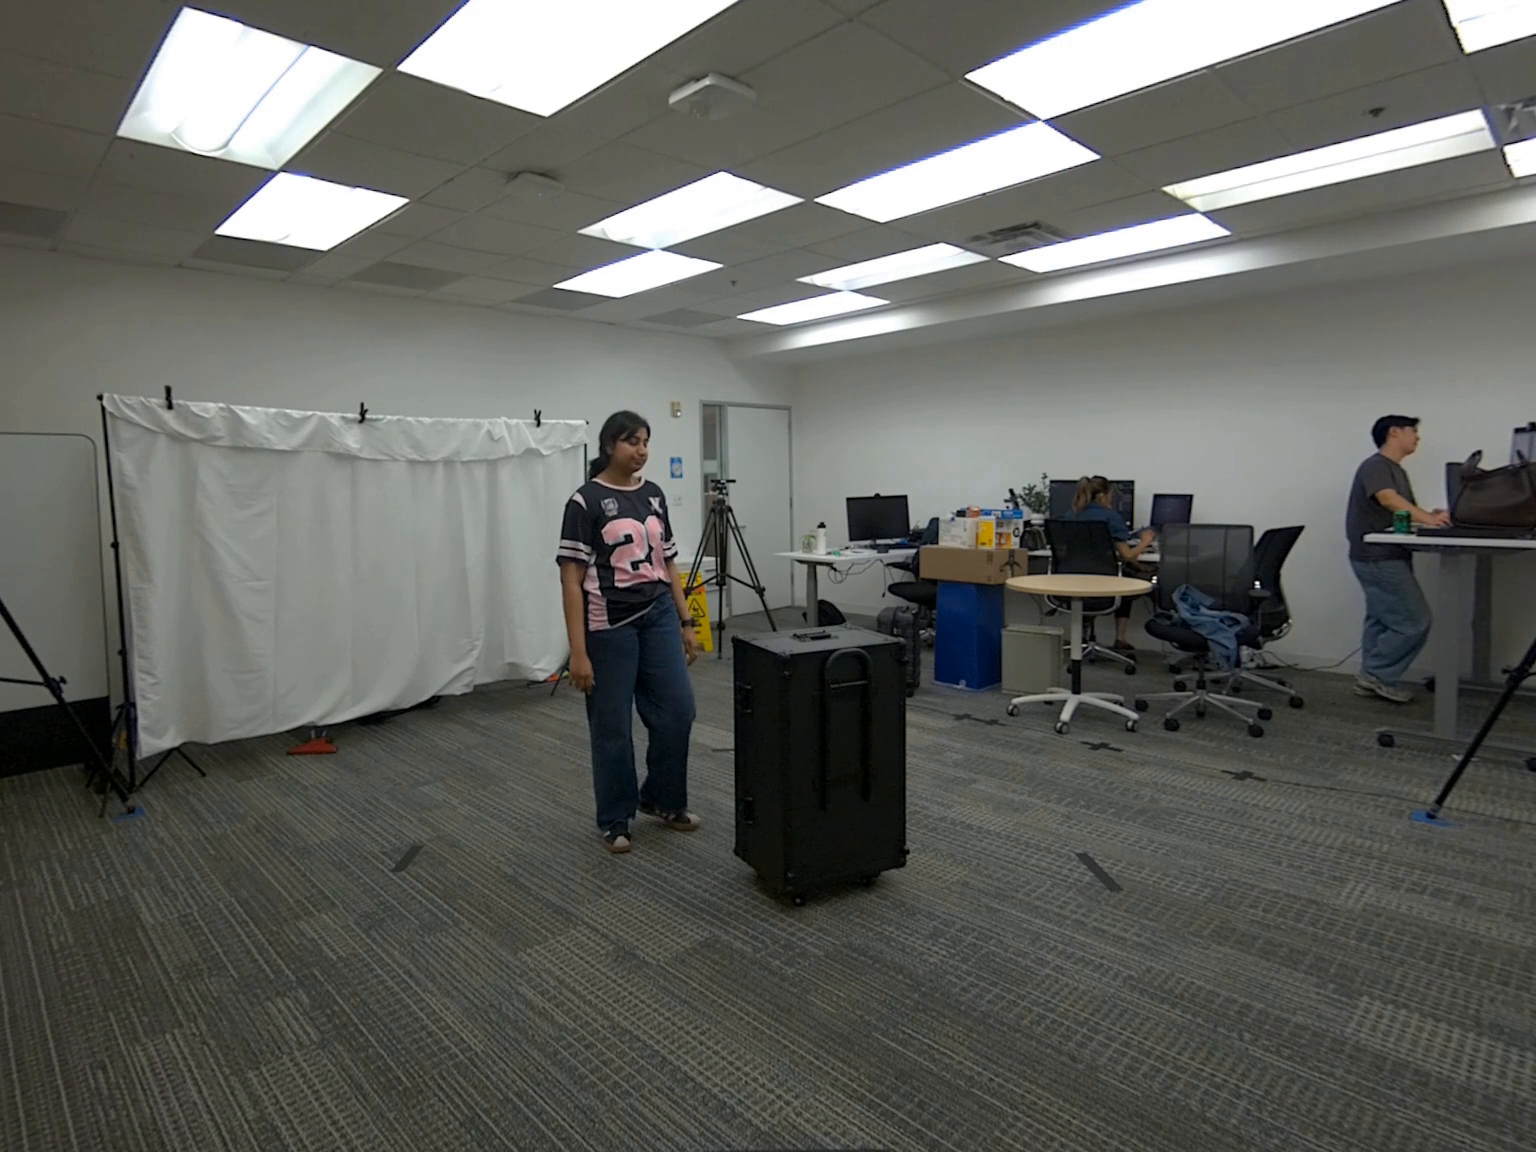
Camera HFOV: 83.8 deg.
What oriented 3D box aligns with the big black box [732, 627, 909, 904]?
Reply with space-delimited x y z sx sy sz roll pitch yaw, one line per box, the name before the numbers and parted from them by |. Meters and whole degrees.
big black box | 0.184 0.639 2.946 0.512 0.865 0.395 -3 5 -26
